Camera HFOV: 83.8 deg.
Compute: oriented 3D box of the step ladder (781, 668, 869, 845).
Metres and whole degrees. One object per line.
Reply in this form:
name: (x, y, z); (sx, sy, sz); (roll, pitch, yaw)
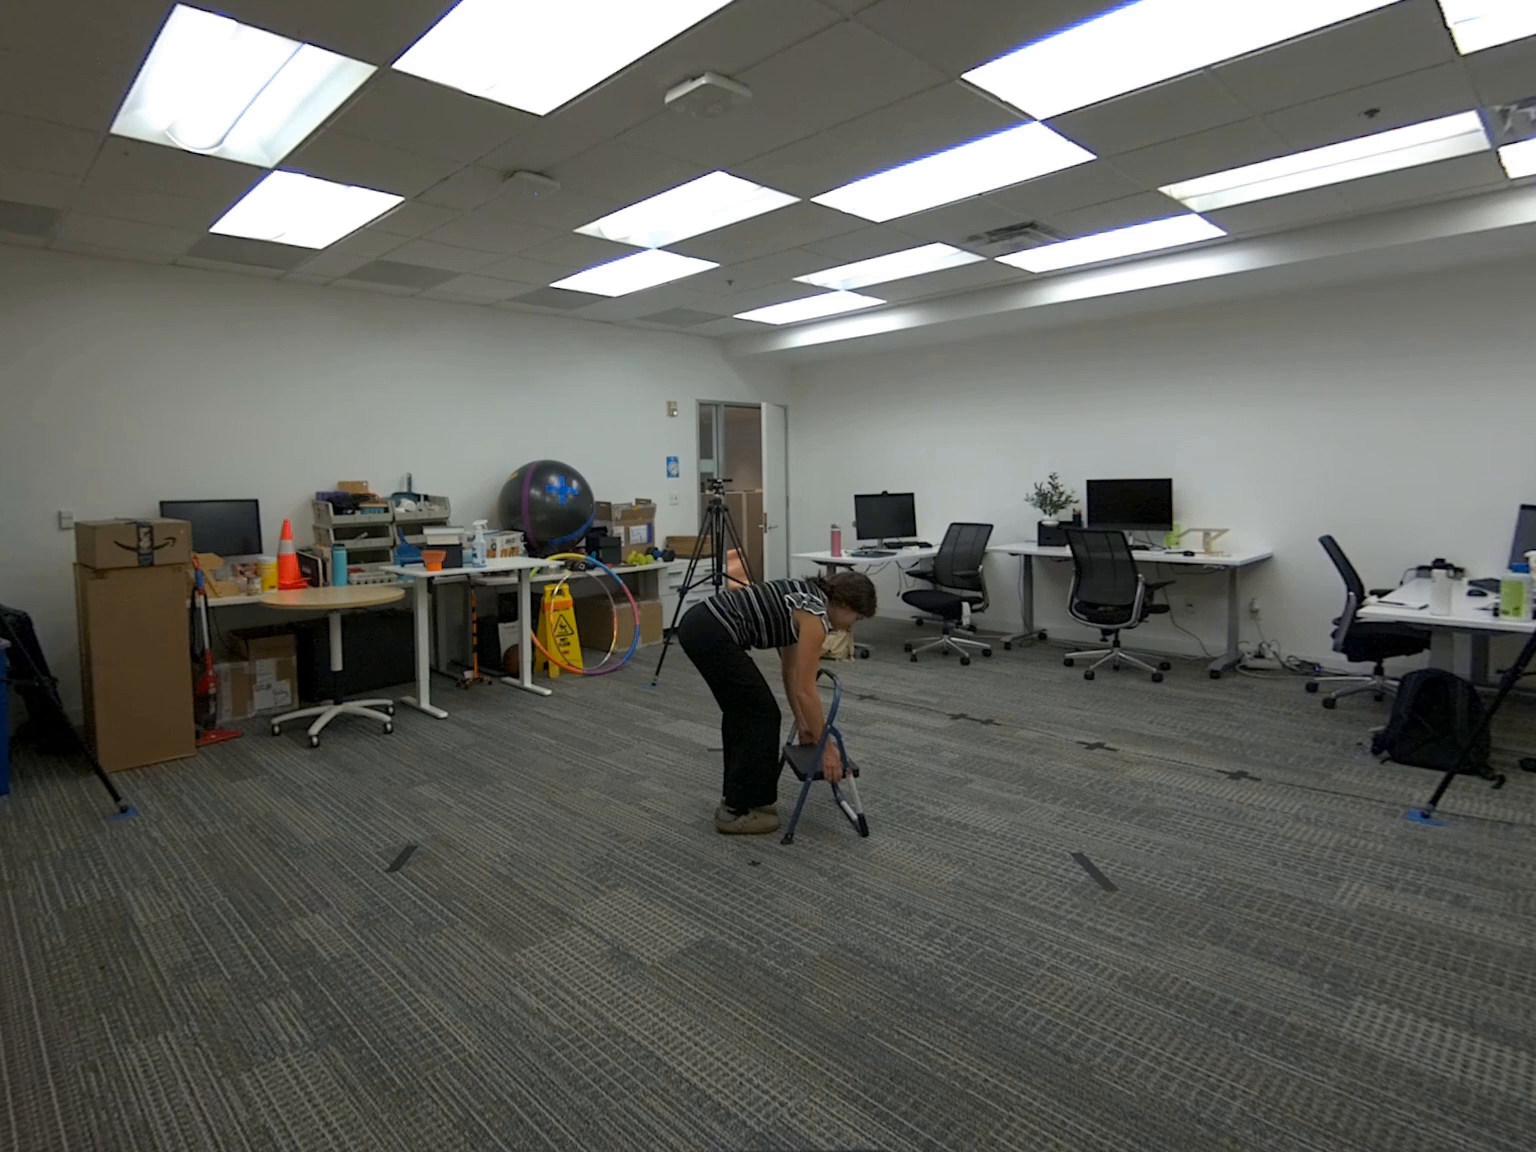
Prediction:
step ladder: (0.182, 0.696, 3.474); (0.346, 0.604, 0.436); (-2, 4, -10)
